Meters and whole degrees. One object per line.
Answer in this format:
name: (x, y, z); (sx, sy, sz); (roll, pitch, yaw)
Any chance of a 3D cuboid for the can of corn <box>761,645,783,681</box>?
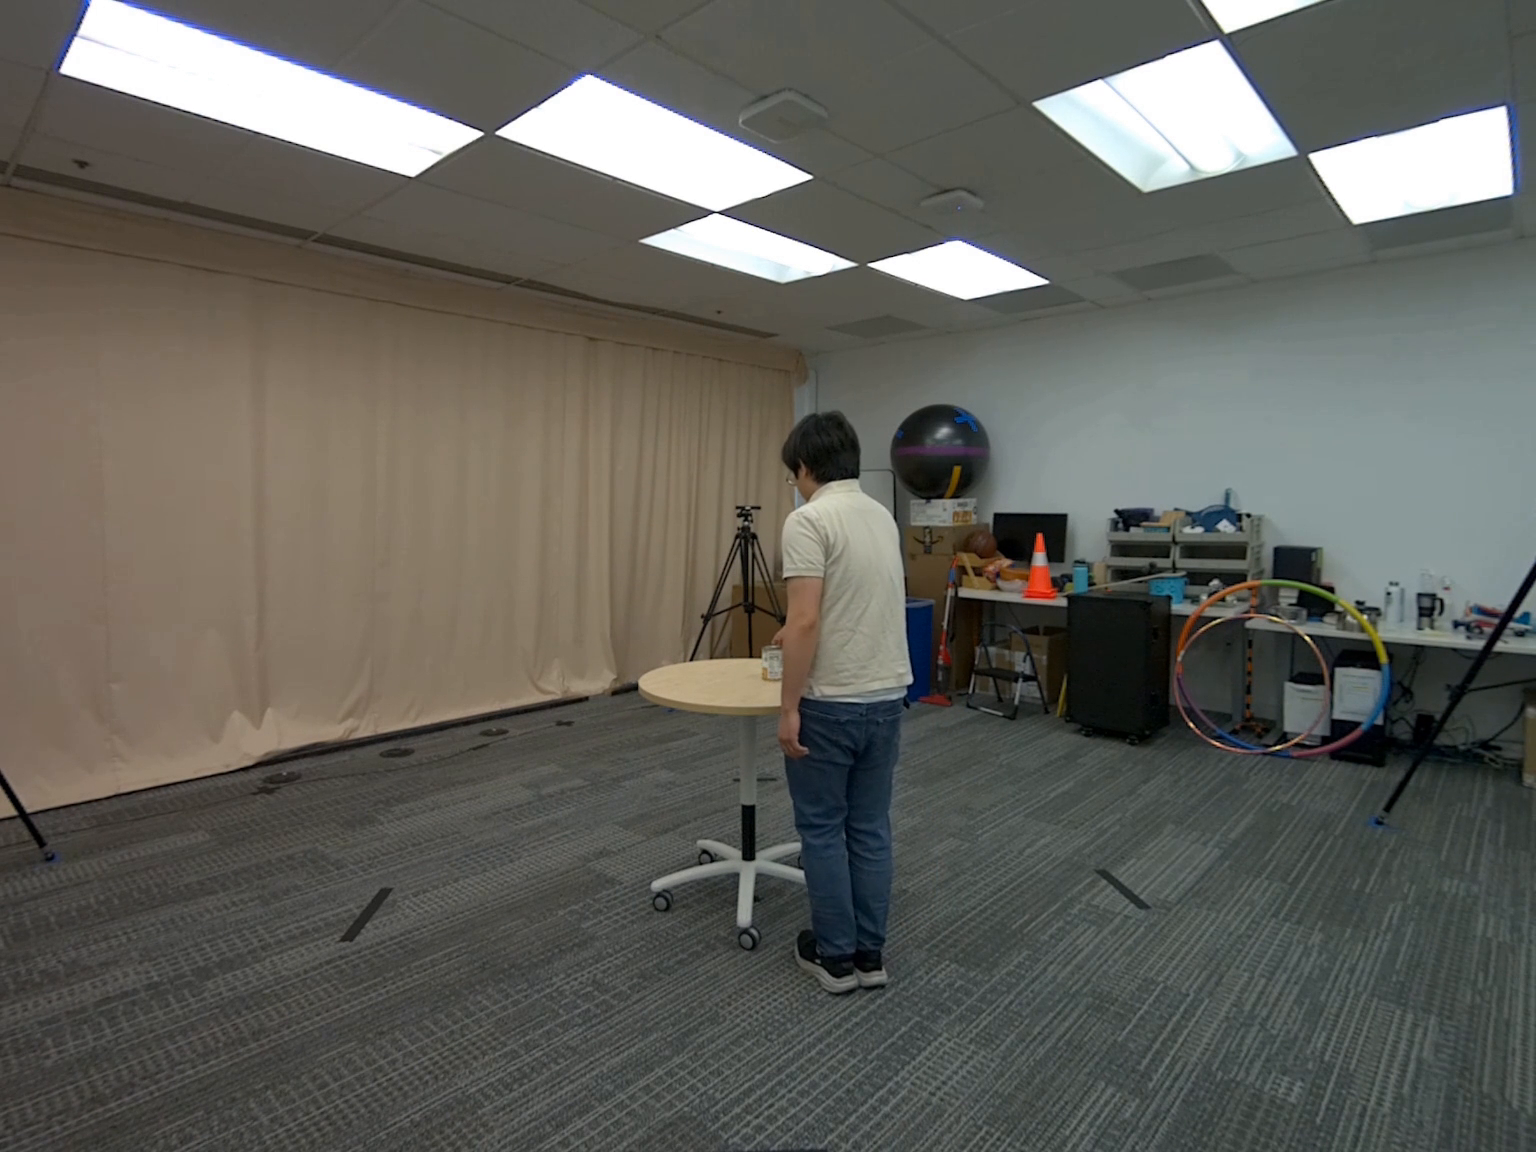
can of corn: (0.017, 0.309, 2.951); (0.074, 0.111, 0.074); (-1, 5, -2)
